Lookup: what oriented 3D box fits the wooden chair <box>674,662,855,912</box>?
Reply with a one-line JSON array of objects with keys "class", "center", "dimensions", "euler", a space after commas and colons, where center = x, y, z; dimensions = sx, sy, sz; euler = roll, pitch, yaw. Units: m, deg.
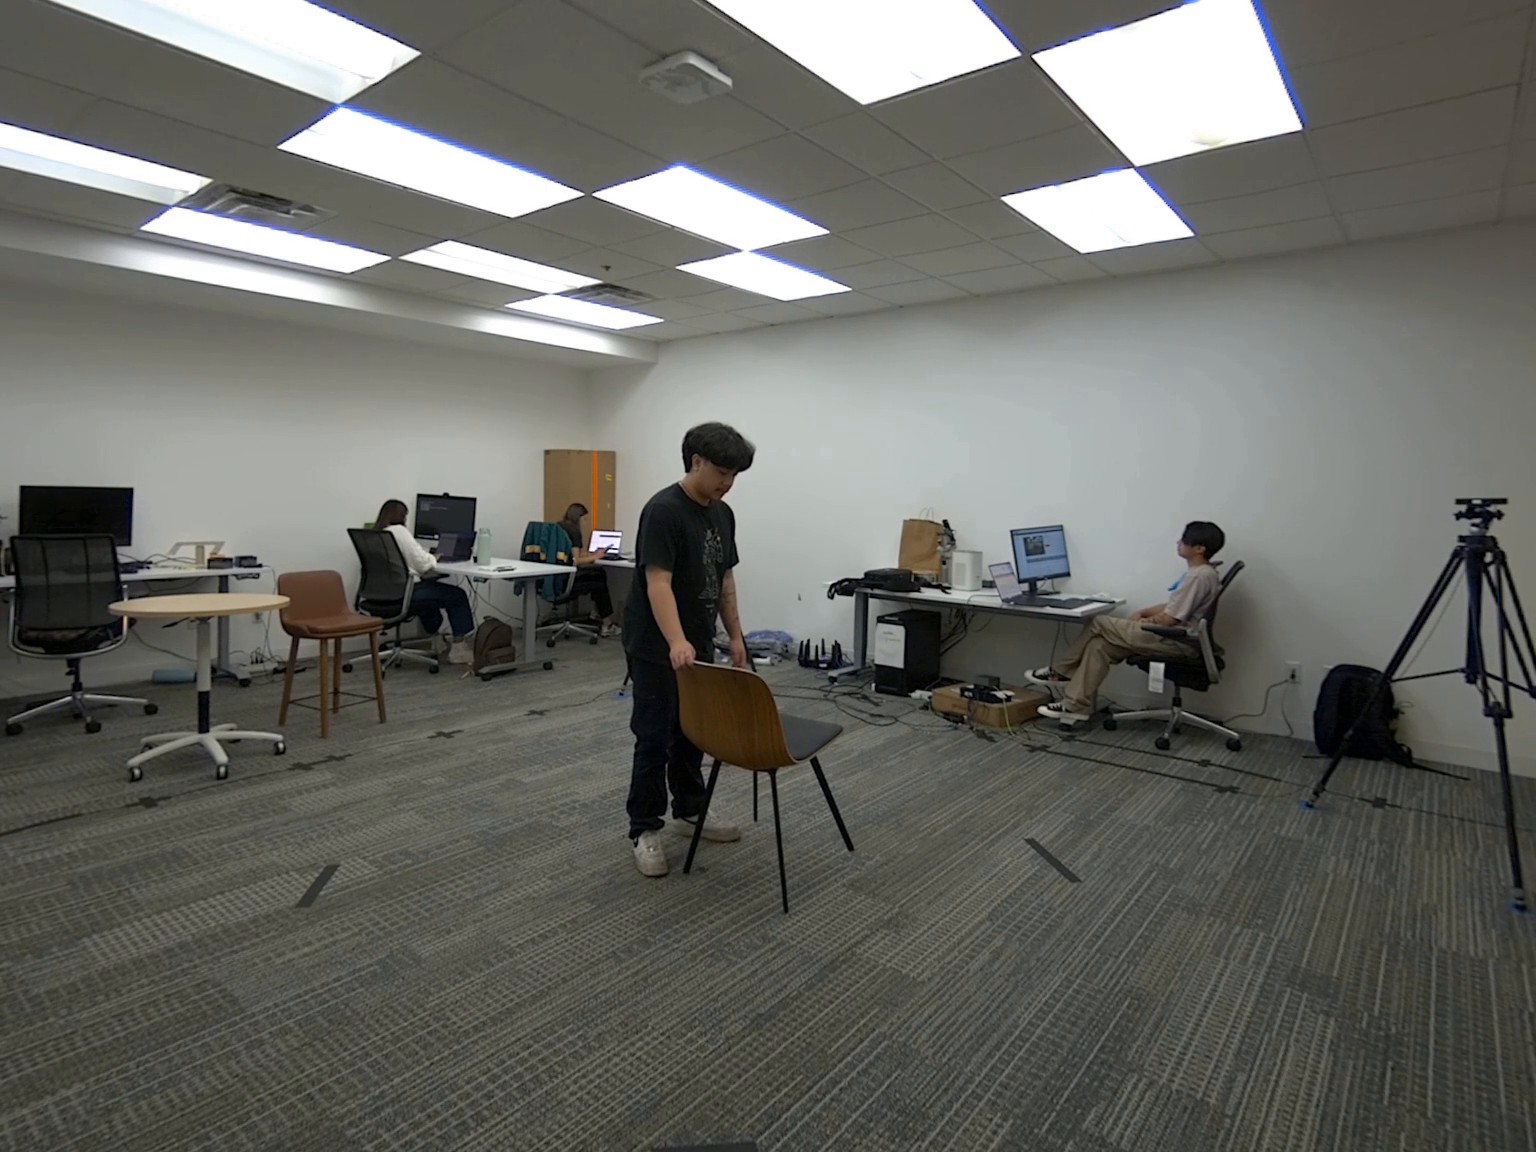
[{"class": "wooden chair", "center": [-0.022, 0.623, 3.034], "dimensions": [0.493, 0.865, 0.514], "euler": [3, 17, 37]}]
